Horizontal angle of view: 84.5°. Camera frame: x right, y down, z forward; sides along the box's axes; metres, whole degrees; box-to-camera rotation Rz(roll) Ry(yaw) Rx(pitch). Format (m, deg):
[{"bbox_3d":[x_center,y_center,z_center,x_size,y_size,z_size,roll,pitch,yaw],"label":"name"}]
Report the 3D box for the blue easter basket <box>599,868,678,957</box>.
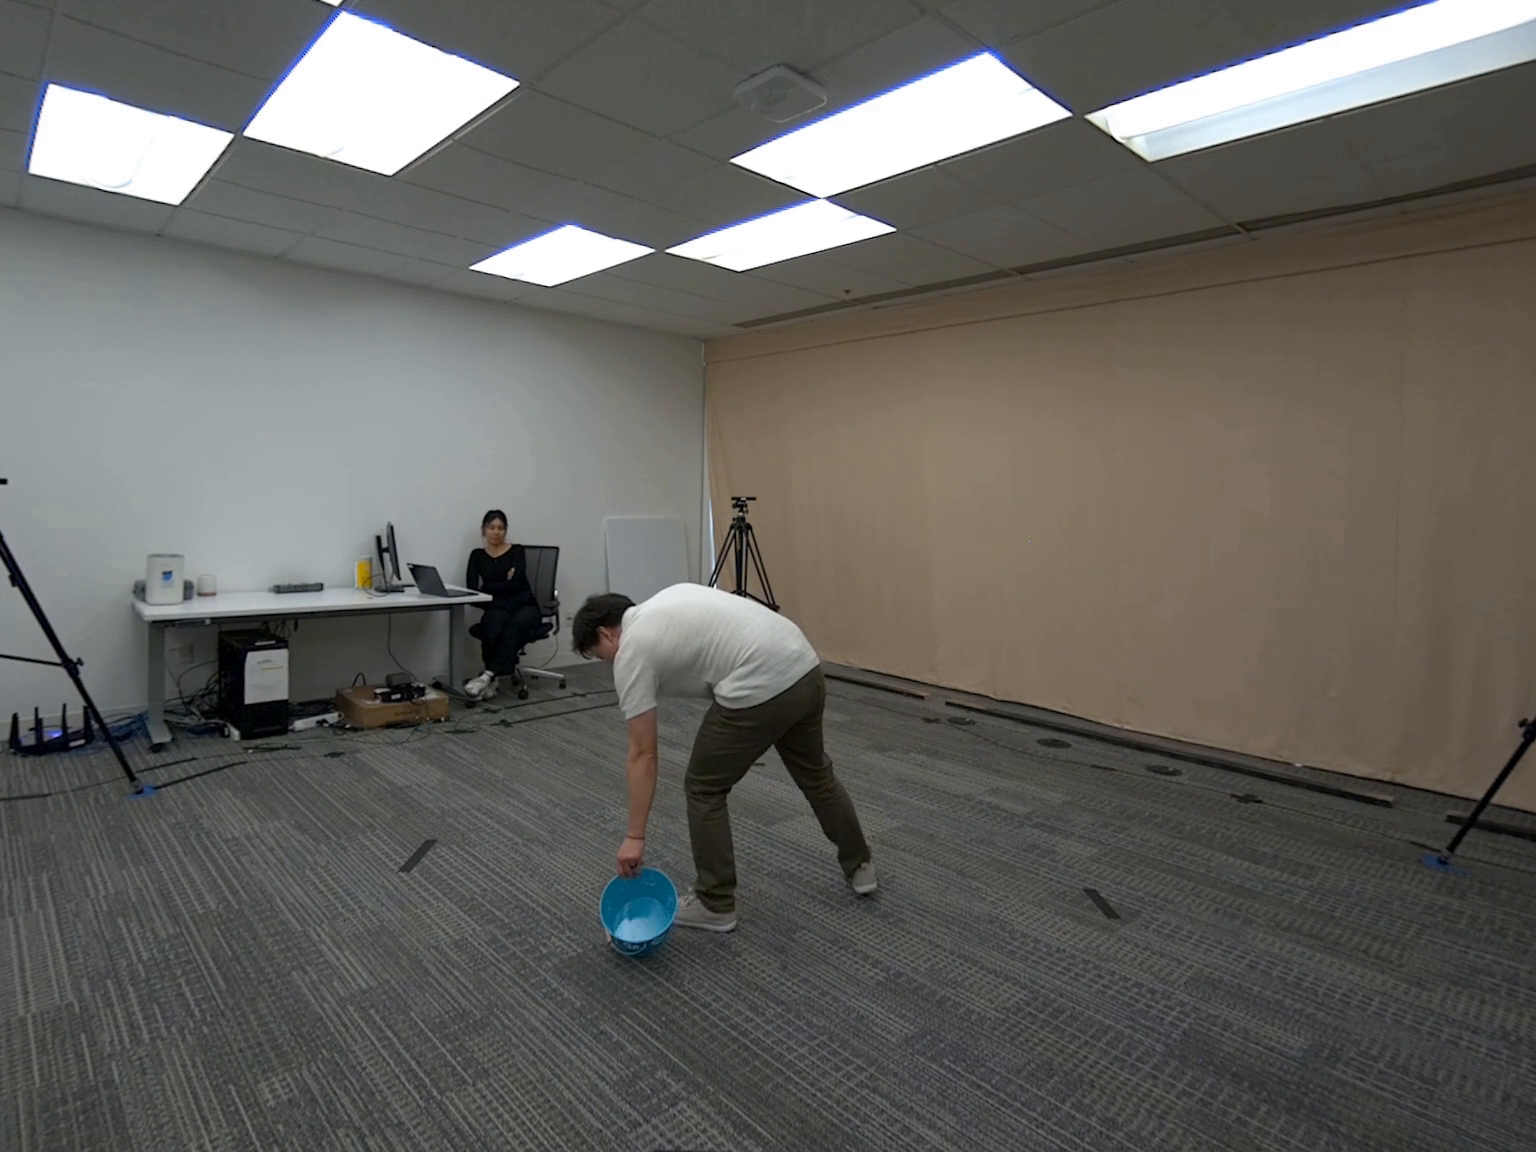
[{"bbox_3d":[-0.398,1.042,2.560,0.243,0.152,0.249,1,43,-2],"label":"blue easter basket"}]
